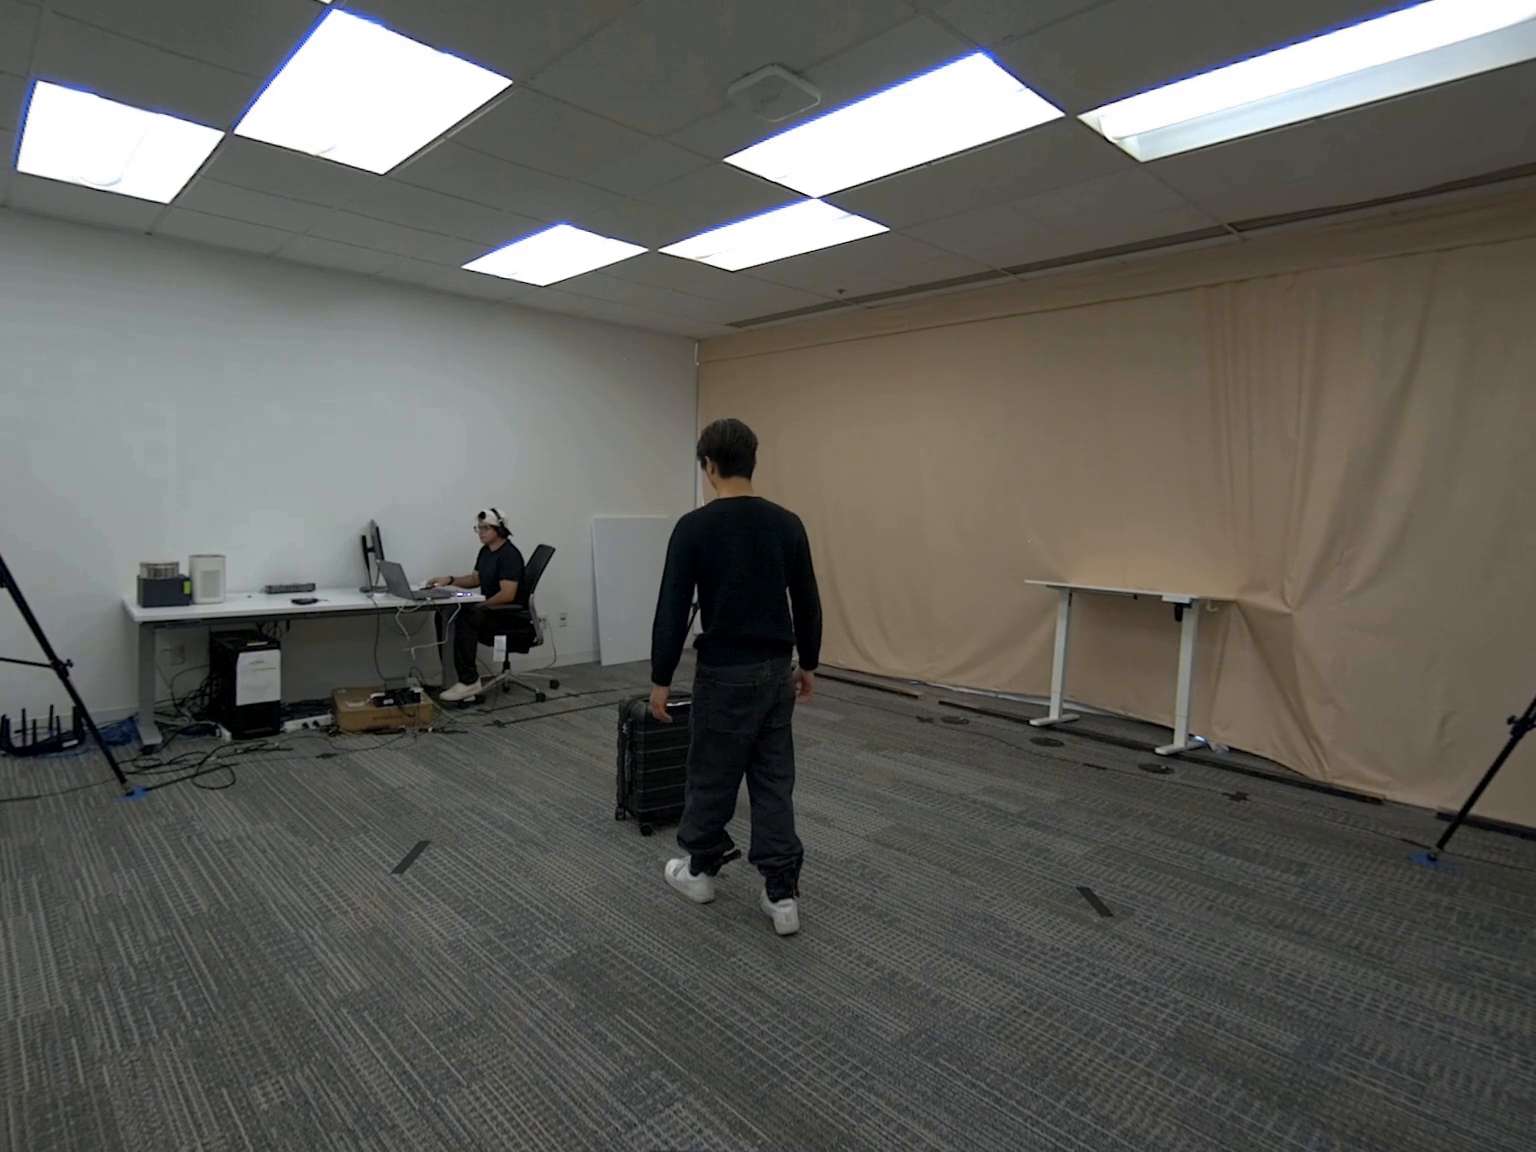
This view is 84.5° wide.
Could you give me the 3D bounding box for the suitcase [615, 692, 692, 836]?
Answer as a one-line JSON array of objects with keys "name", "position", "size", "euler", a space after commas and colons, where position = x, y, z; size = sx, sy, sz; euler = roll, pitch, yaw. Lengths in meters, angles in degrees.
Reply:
[{"name": "suitcase", "position": [-0.467, 0.777, 3.624], "size": [0.367, 0.548, 0.254], "euler": [-1, 4, -33]}]
